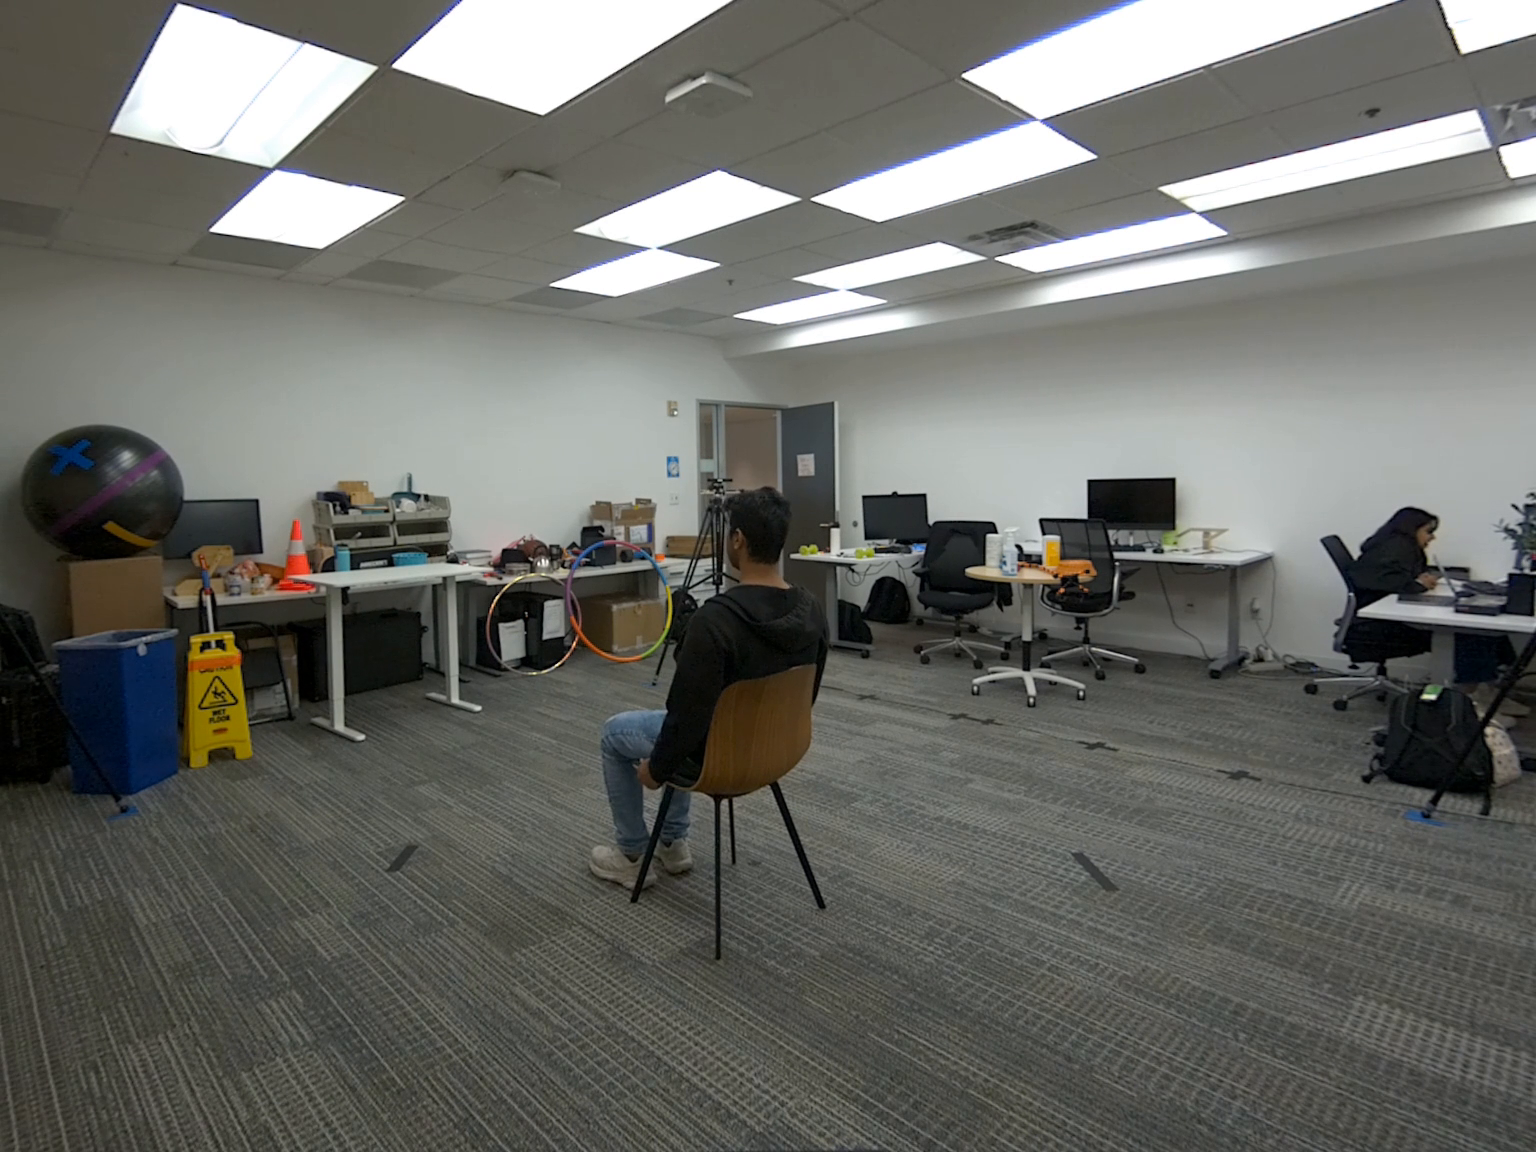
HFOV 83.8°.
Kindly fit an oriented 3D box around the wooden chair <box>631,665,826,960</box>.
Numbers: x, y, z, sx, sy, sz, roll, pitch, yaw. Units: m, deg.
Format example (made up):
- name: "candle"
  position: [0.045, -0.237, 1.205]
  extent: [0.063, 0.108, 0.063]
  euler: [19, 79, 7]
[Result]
- name: "wooden chair"
  position: [-0.145, 0.656, 2.775]
  extent: [0.466, 0.871, 0.541]
  euler: [-5, 11, -41]
